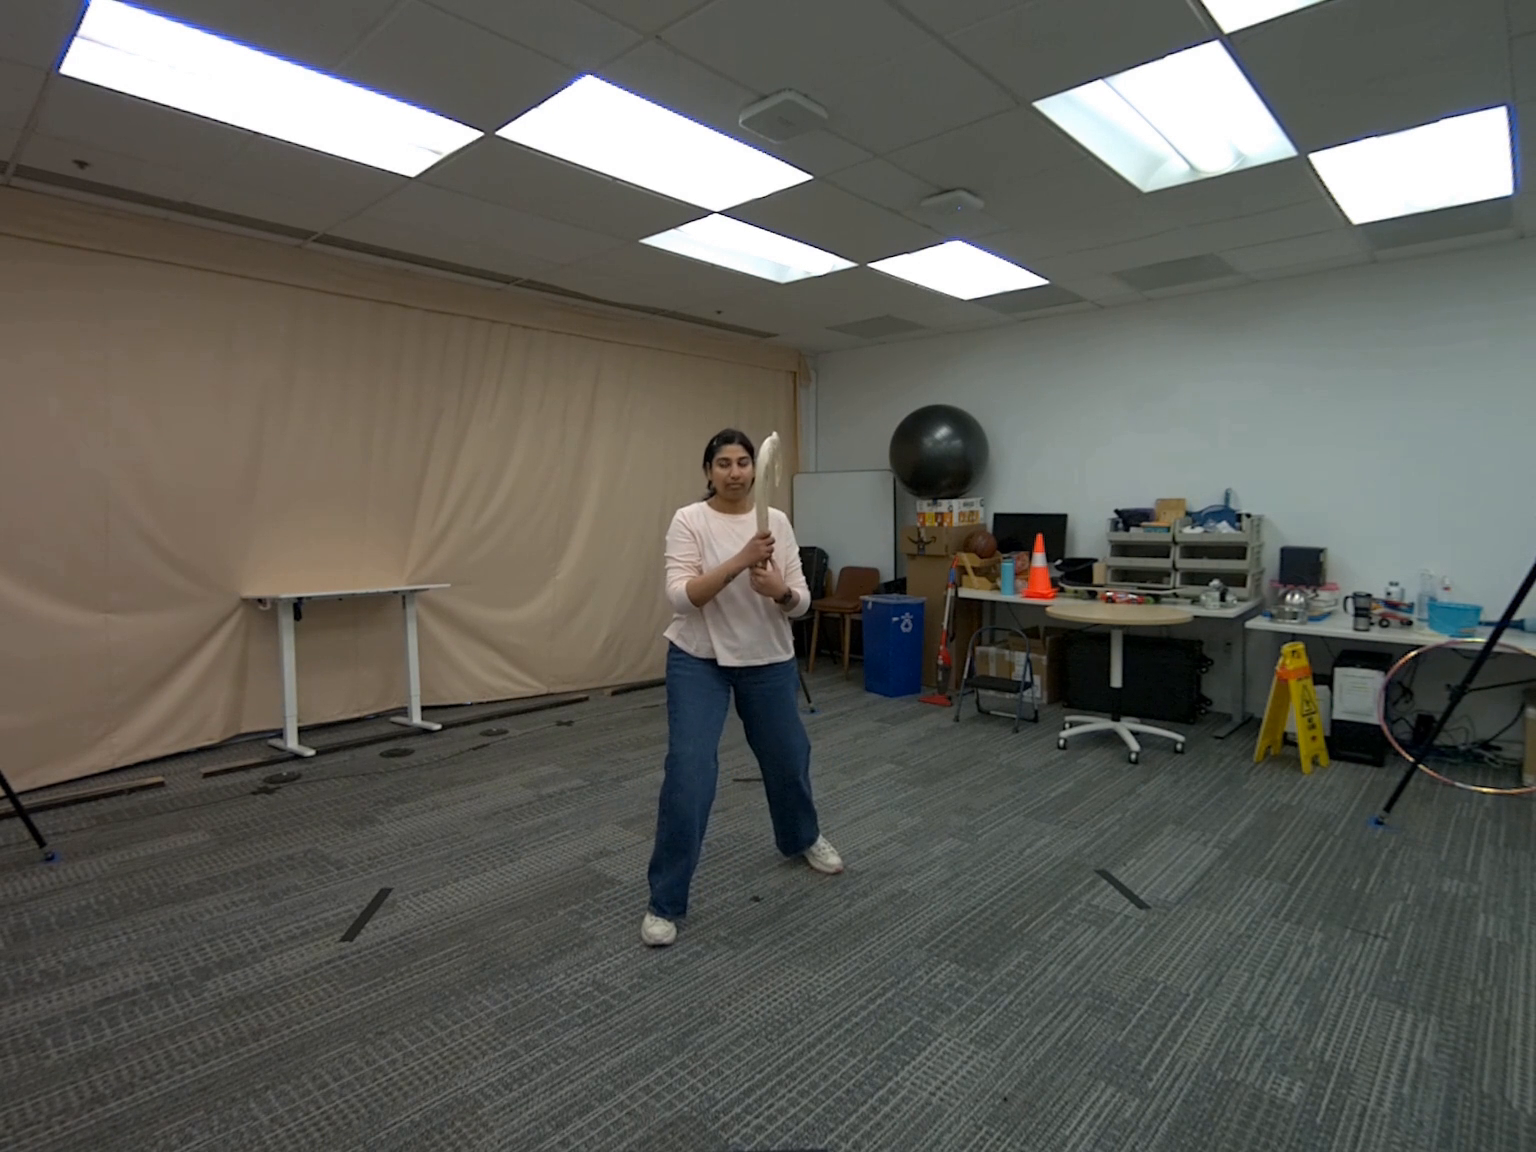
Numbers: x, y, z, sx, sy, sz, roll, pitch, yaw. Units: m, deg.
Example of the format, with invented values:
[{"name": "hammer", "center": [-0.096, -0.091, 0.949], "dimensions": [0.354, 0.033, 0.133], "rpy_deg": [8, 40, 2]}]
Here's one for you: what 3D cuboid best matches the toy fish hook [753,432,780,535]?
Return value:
[{"name": "toy fish hook", "center": [-0.002, -0.202, 2.675], "dimensions": [0.049, 0.500, 0.223], "rpy_deg": [13, 29, 16]}]
